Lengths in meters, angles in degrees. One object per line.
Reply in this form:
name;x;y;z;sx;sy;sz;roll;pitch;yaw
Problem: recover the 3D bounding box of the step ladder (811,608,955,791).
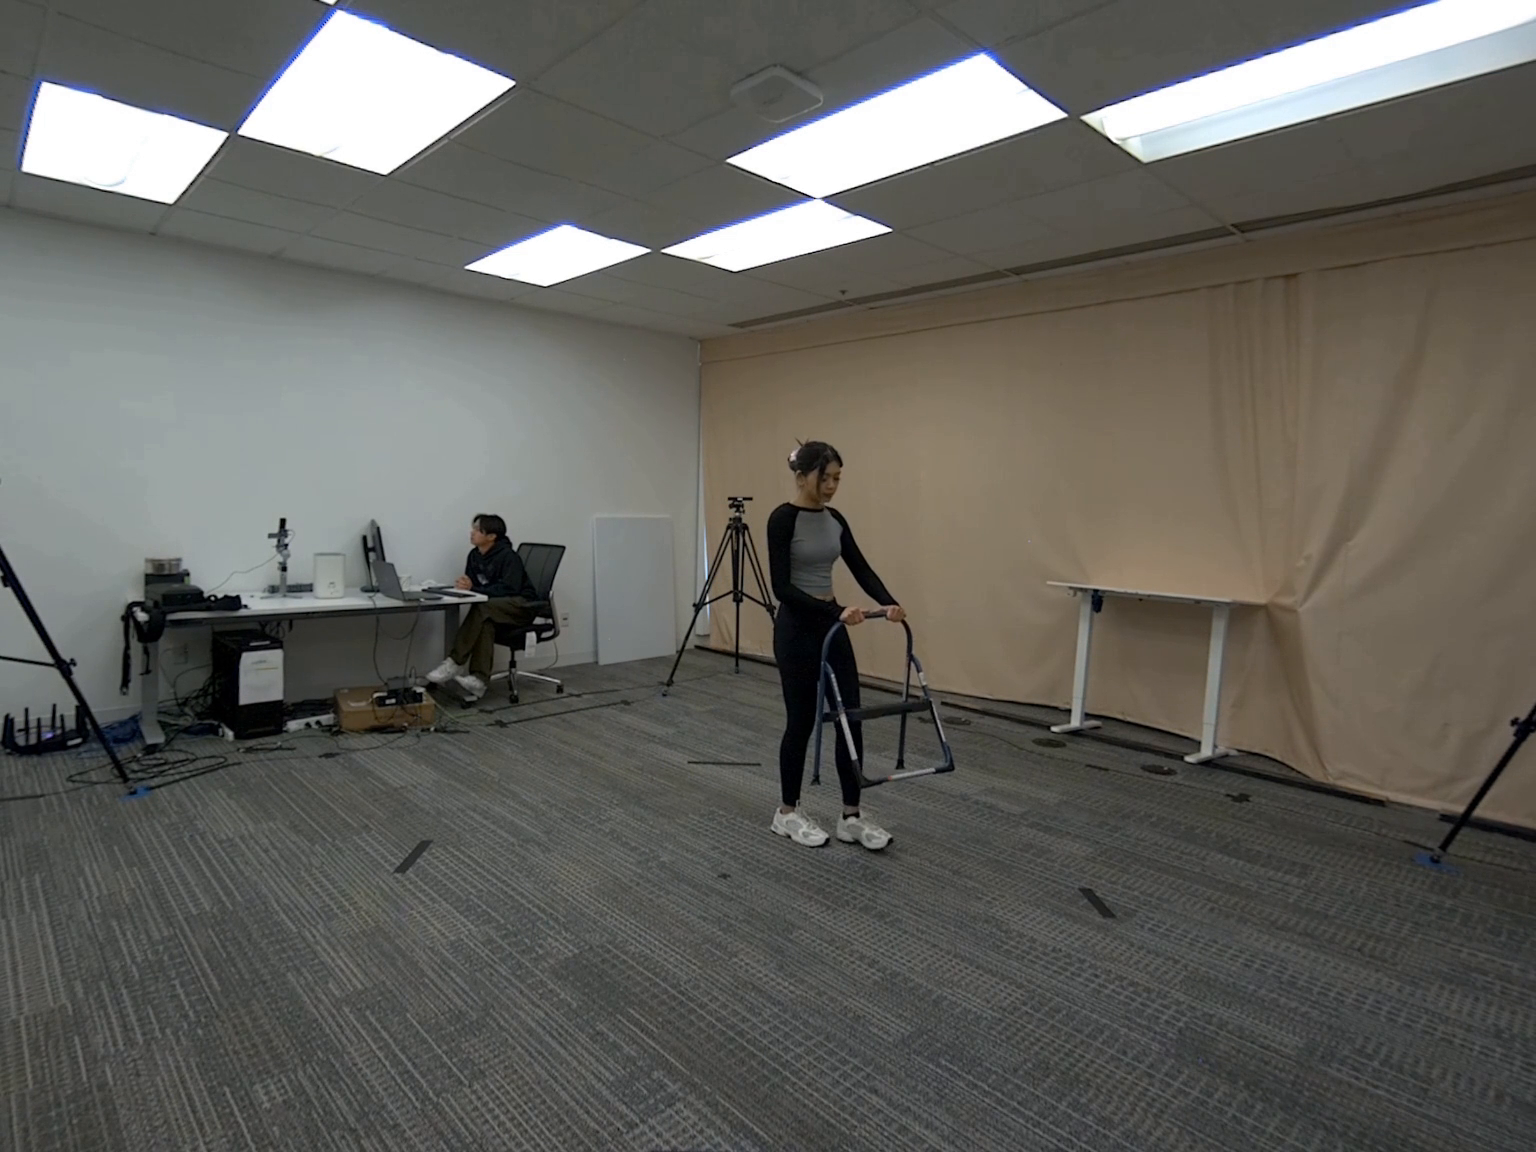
step ladder;0.380;0.453;3.167;0.422;0.611;0.353;-2;-10;-29
